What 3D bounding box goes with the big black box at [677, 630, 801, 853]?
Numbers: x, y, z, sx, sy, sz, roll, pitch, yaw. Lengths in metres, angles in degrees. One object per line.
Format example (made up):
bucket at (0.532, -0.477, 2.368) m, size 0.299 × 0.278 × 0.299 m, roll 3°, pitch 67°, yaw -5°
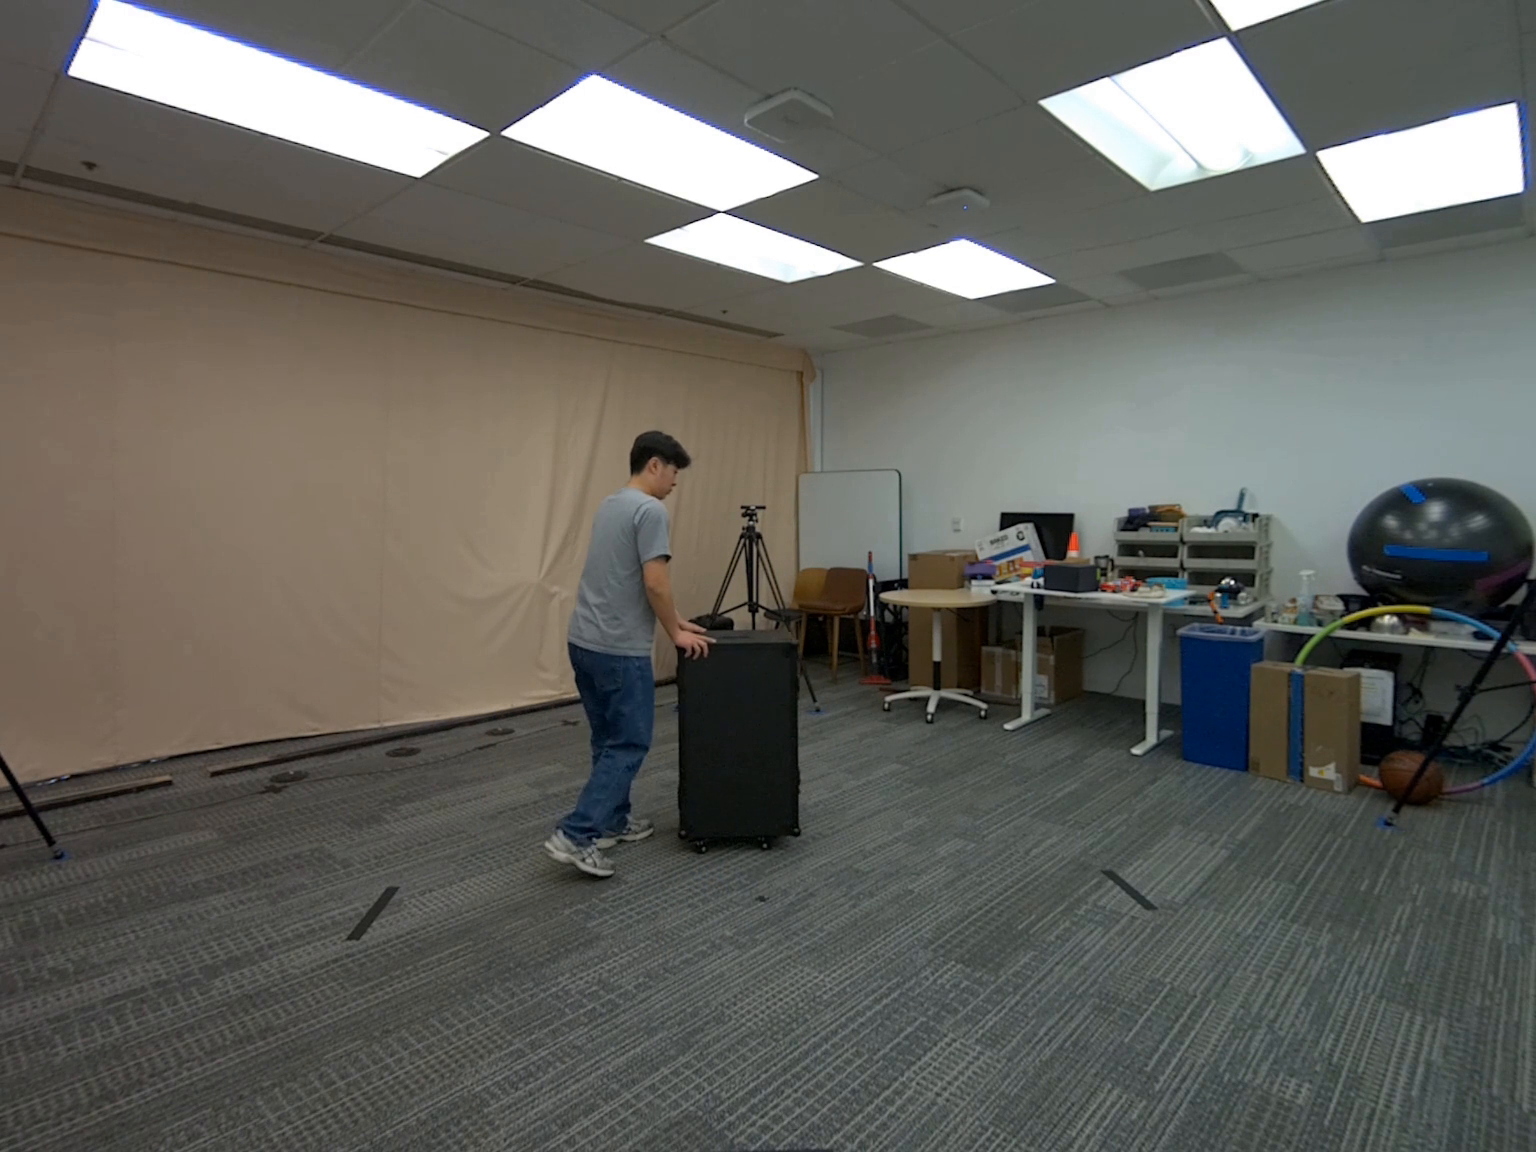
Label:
big black box at (-0.142, 0.677, 3.521) m, size 0.519 × 0.860 × 0.398 m, roll 0°, pitch 2°, yaw -4°
